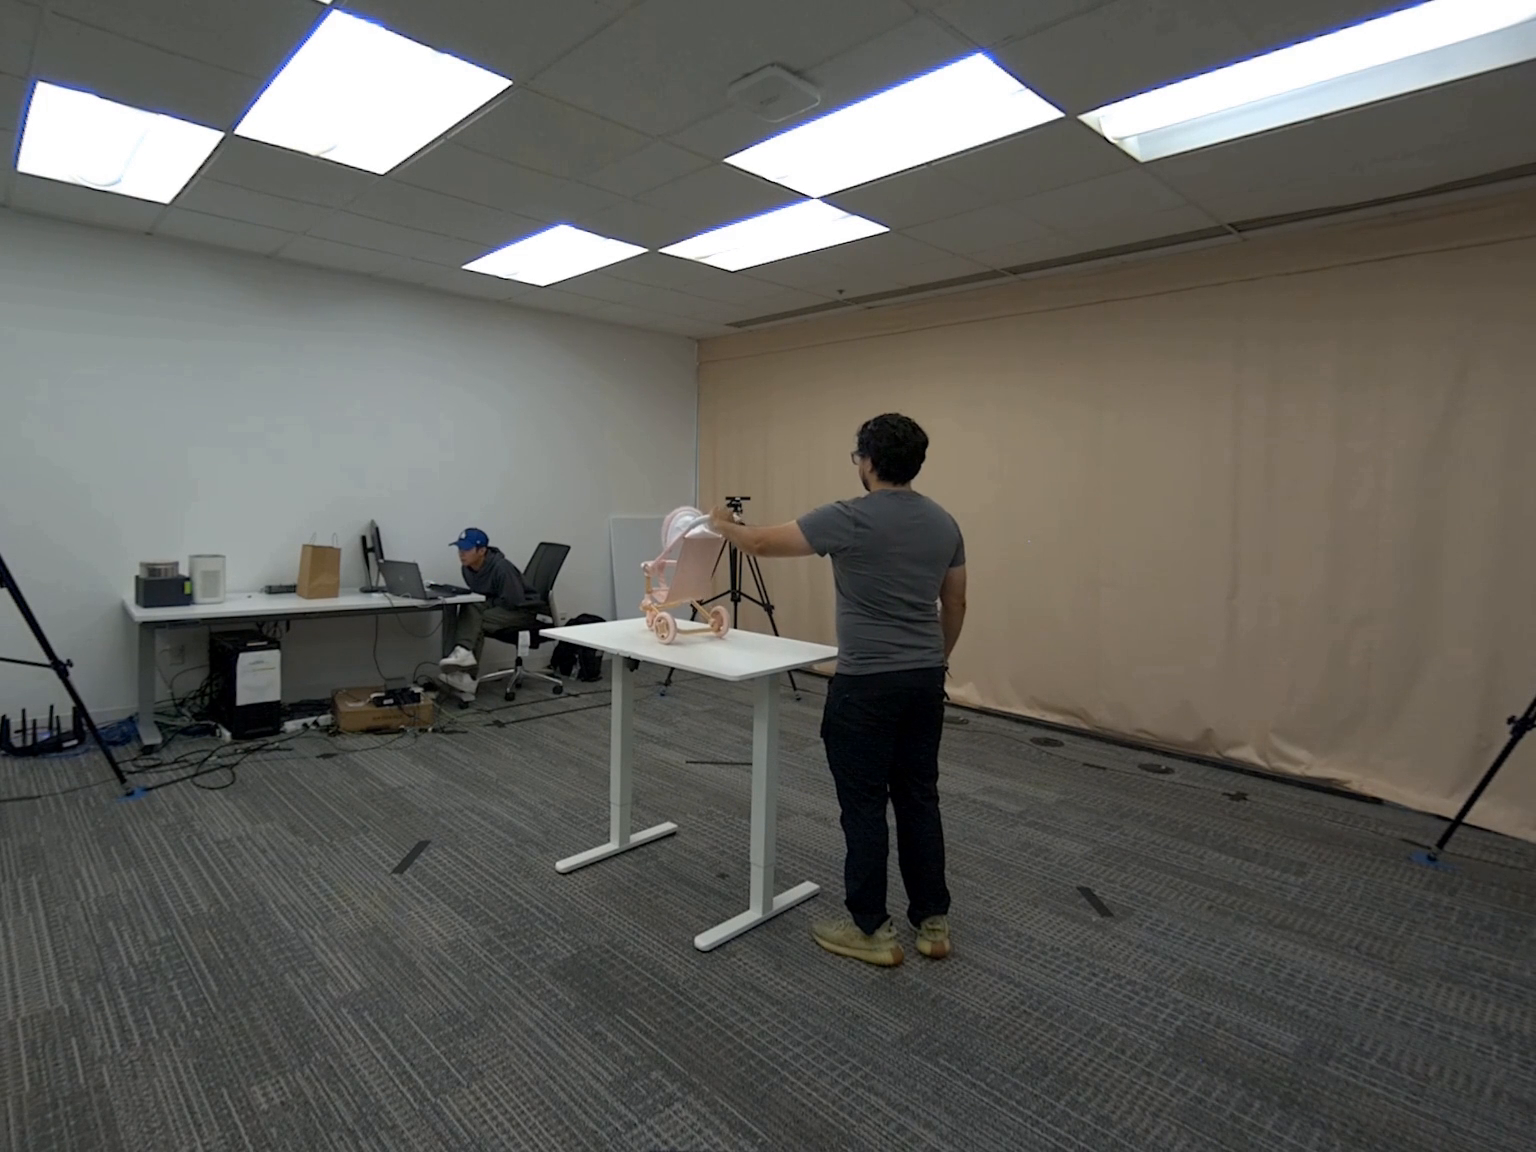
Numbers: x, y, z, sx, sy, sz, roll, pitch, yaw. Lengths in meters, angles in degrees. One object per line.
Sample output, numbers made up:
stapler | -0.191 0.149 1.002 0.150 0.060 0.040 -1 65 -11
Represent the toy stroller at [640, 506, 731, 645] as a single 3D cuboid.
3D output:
toy stroller | -0.306 -0.009 3.027 0.275 0.530 0.352 -1 18 -38
